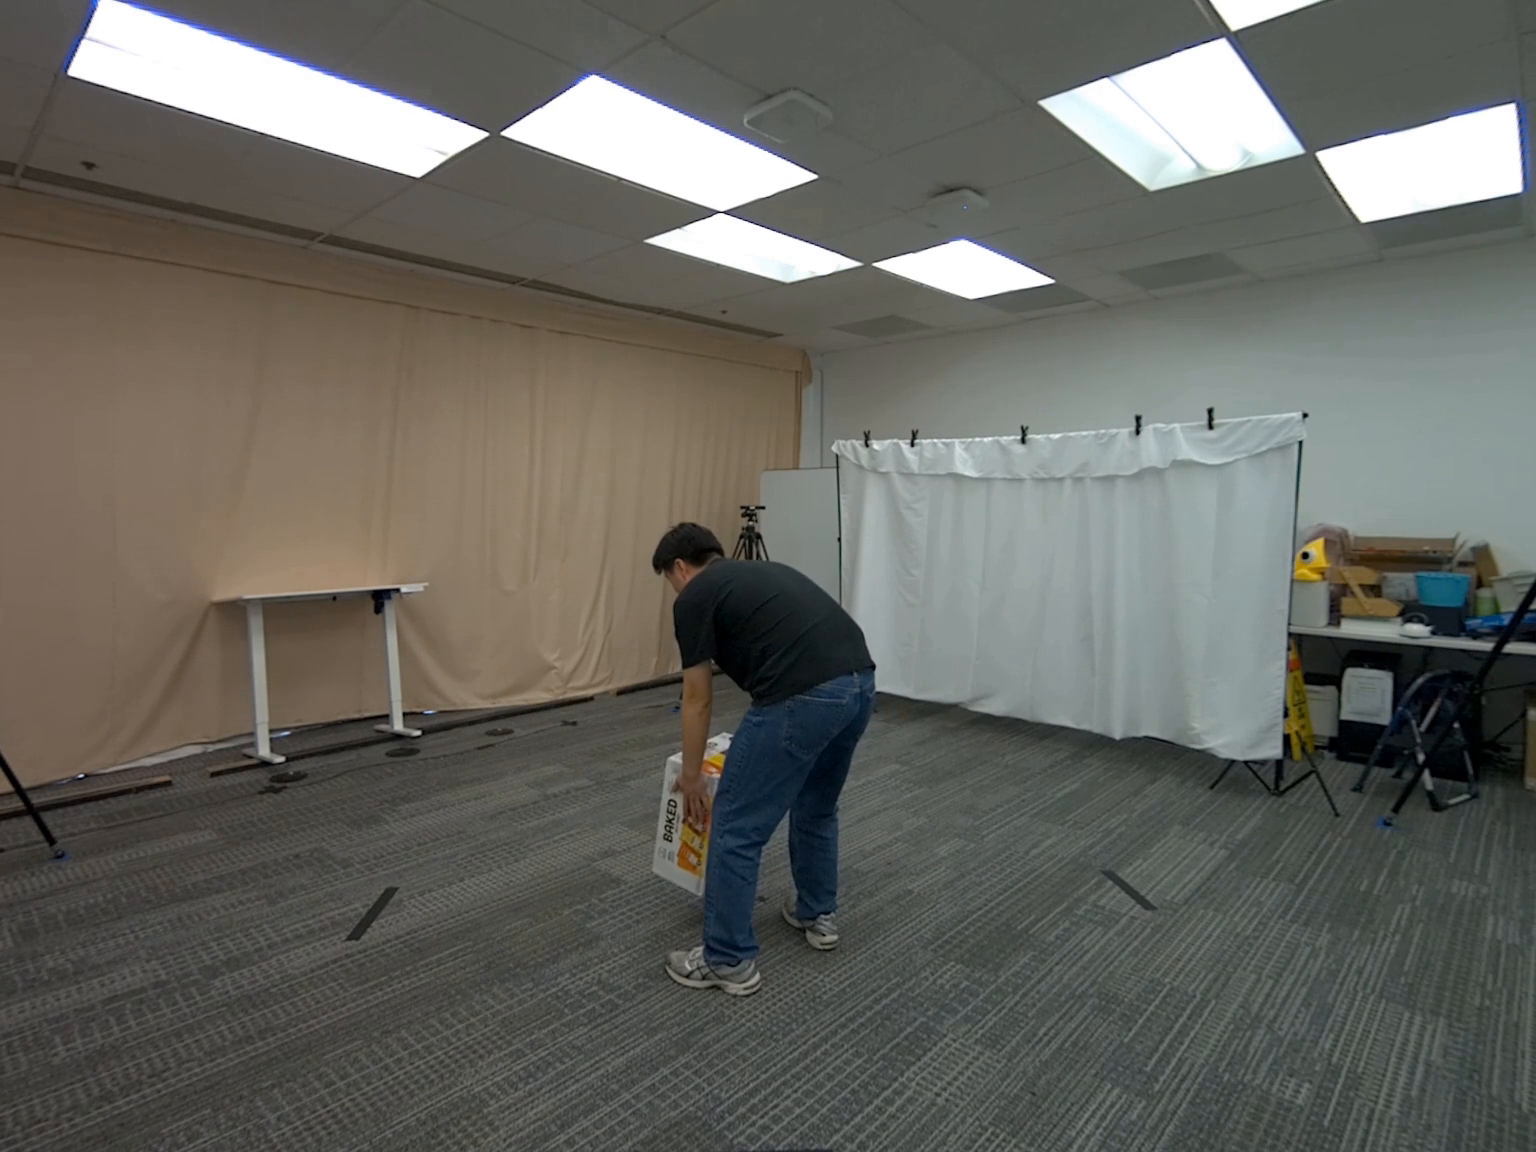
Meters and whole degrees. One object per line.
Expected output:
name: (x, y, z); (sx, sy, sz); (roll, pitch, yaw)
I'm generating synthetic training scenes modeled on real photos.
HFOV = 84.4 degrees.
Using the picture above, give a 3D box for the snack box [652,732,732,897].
snack box: (-0.184, 0.791, 2.846); (0.212, 0.403, 0.331); (13, 11, 30)
